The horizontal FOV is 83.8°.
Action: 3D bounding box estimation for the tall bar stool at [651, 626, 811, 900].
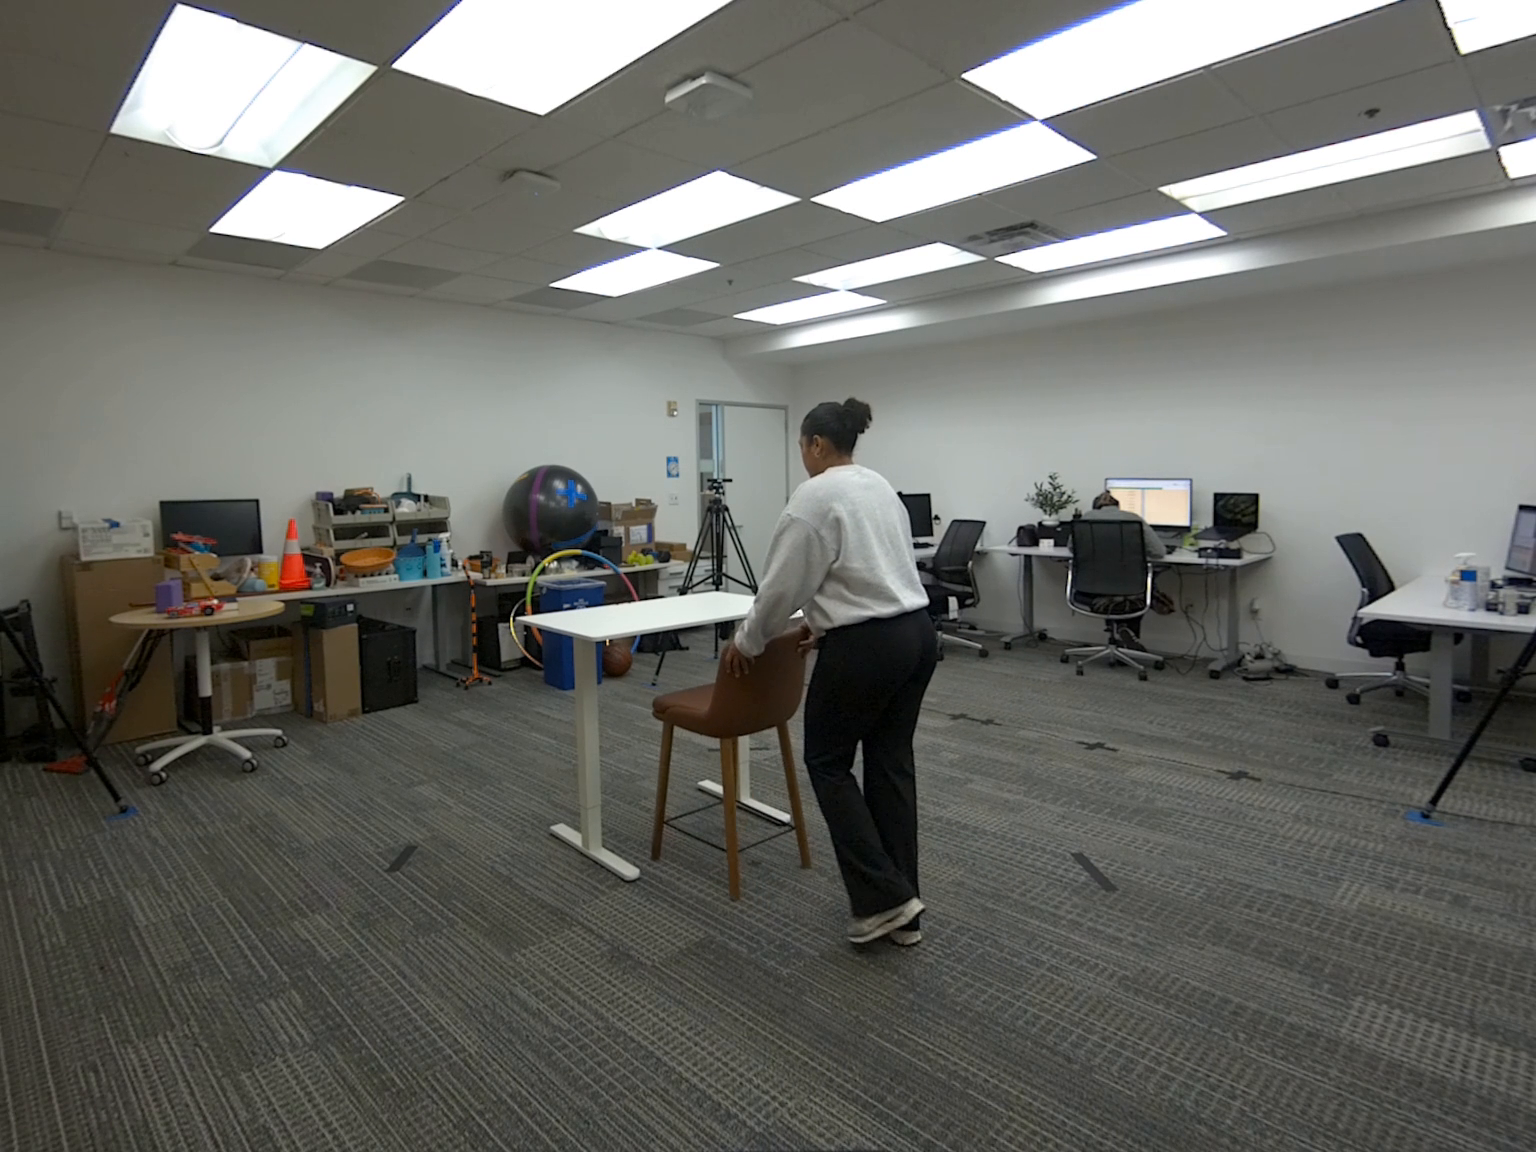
[{"bbox_3d":[-0.130,0.609,3.084,0.444,0.885,0.482,-4,7,-42],"label":"tall bar stool"}]
